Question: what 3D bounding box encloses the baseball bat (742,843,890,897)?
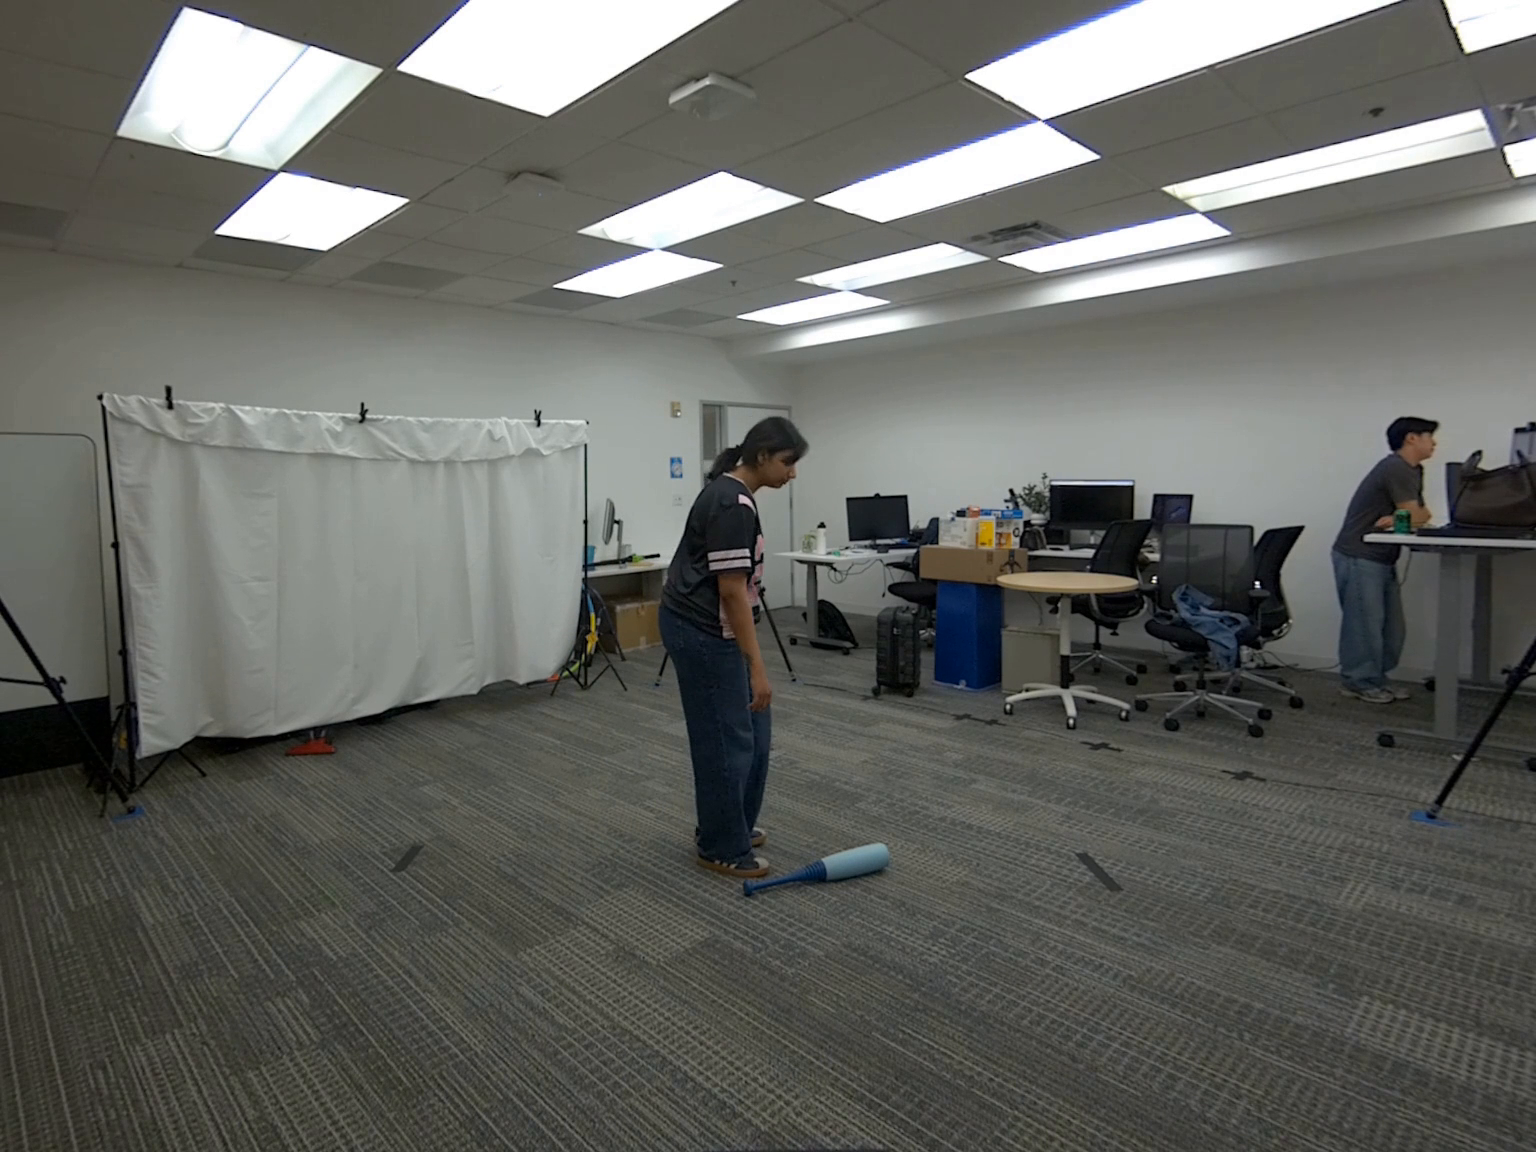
[{"bbox_3d":[0.168,1.019,2.964,0.534,0.088,0.091,-8,7,-20],"label":"baseball bat"}]
